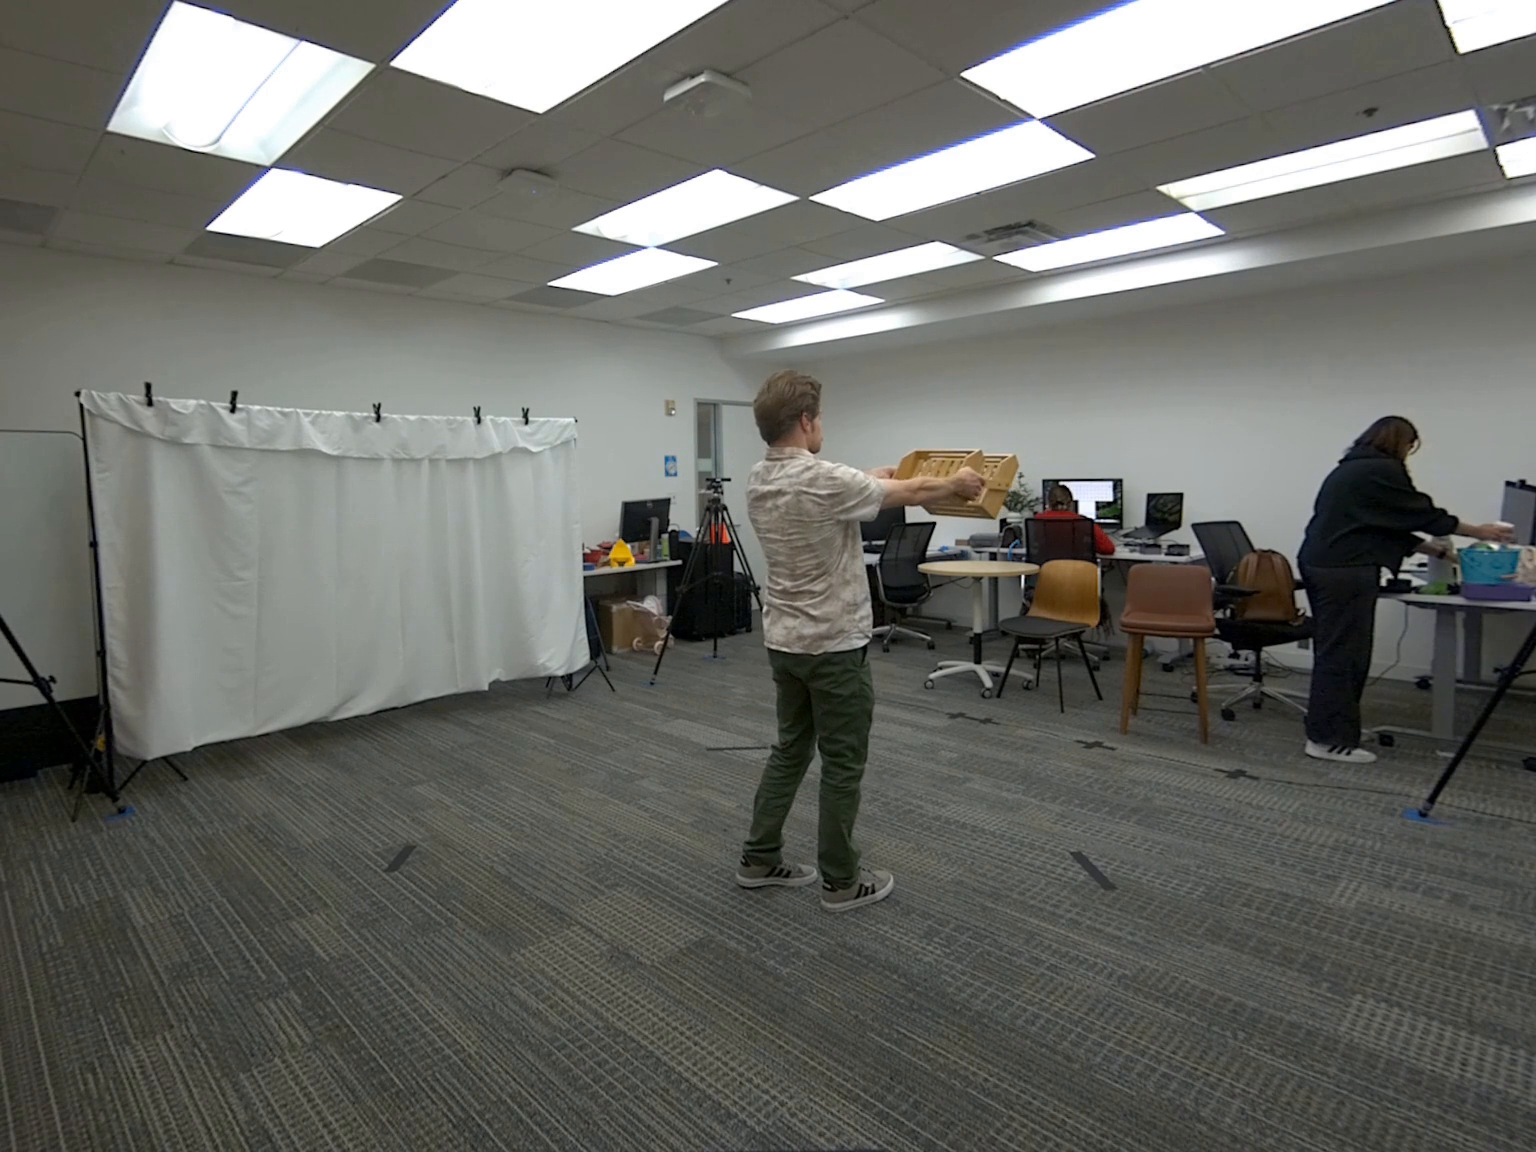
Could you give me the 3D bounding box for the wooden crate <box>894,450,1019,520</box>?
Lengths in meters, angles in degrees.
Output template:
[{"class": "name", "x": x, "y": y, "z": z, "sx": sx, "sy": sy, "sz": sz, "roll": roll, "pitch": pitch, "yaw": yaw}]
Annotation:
[{"class": "wooden crate", "x": 0.677, "y": -0.369, "z": 3.123, "sx": 0.263, "sy": 0.303, "sz": 0.334, "roll": 36, "pitch": -16, "yaw": -34}]
